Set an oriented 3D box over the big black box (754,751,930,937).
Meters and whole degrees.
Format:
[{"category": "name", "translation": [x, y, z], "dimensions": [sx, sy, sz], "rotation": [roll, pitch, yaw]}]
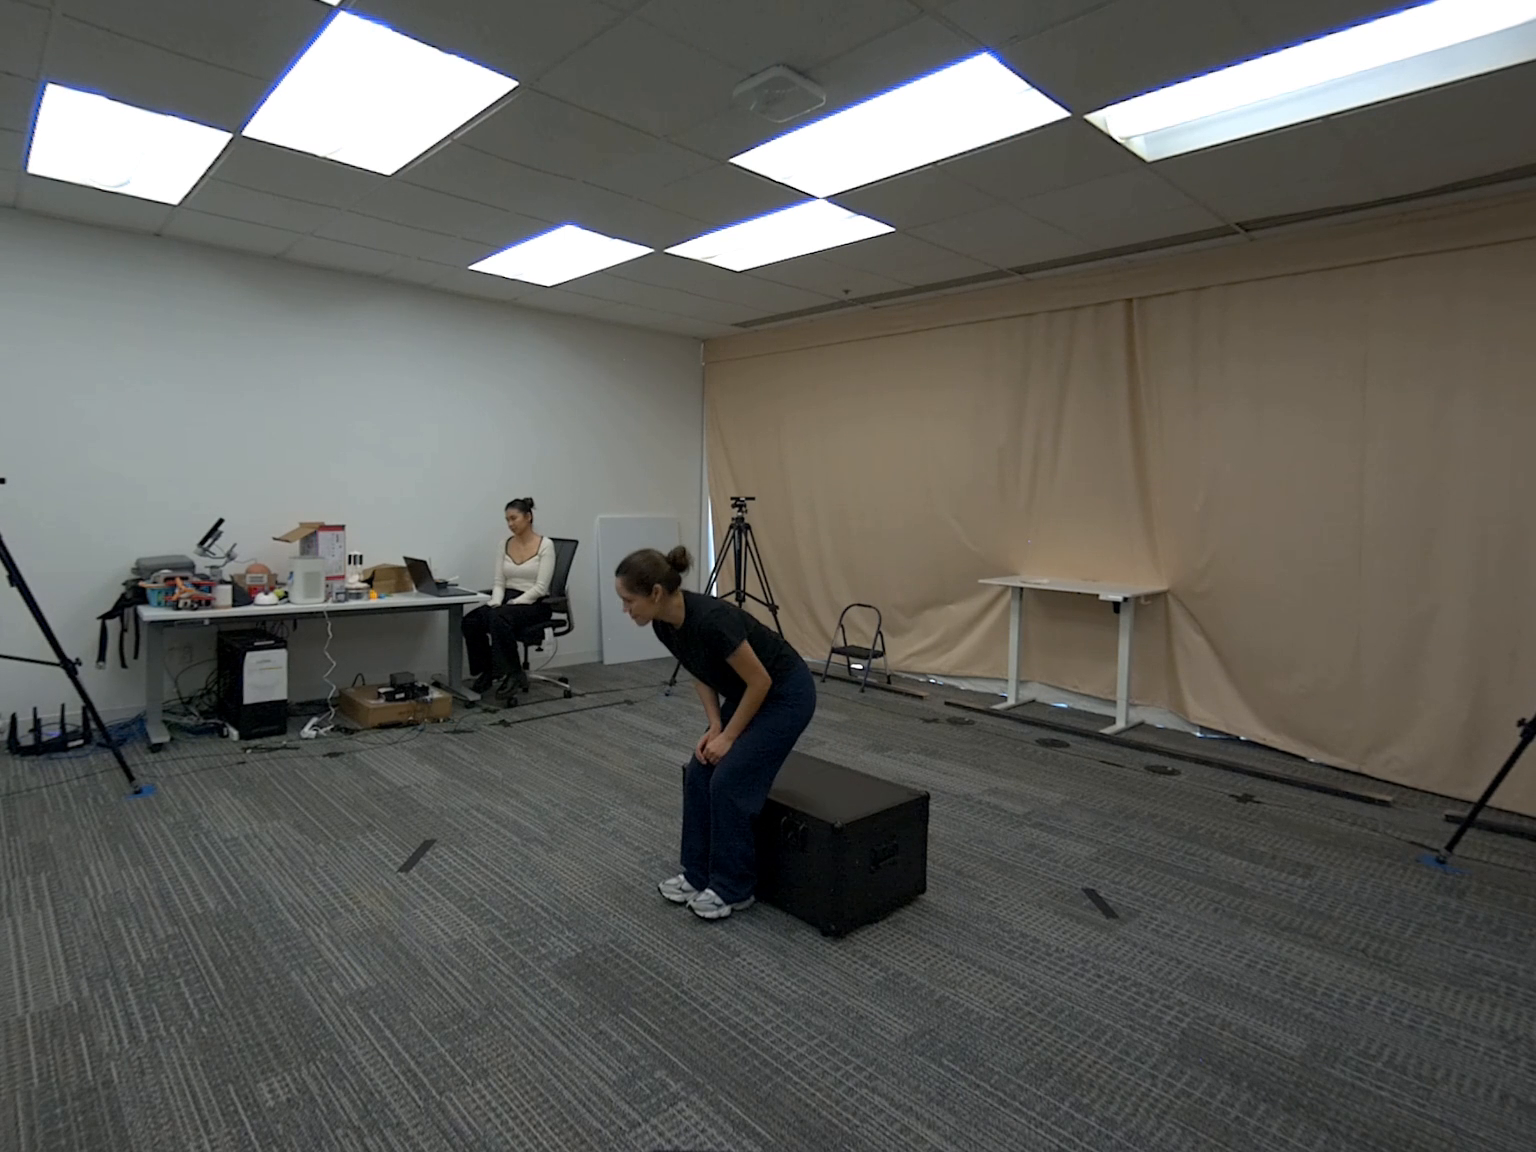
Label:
[{"category": "big black box", "translation": [0.095, 0.923, 3.088], "dimensions": [0.509, 0.395, 0.884], "rotation": [-2, 6, -44]}]
